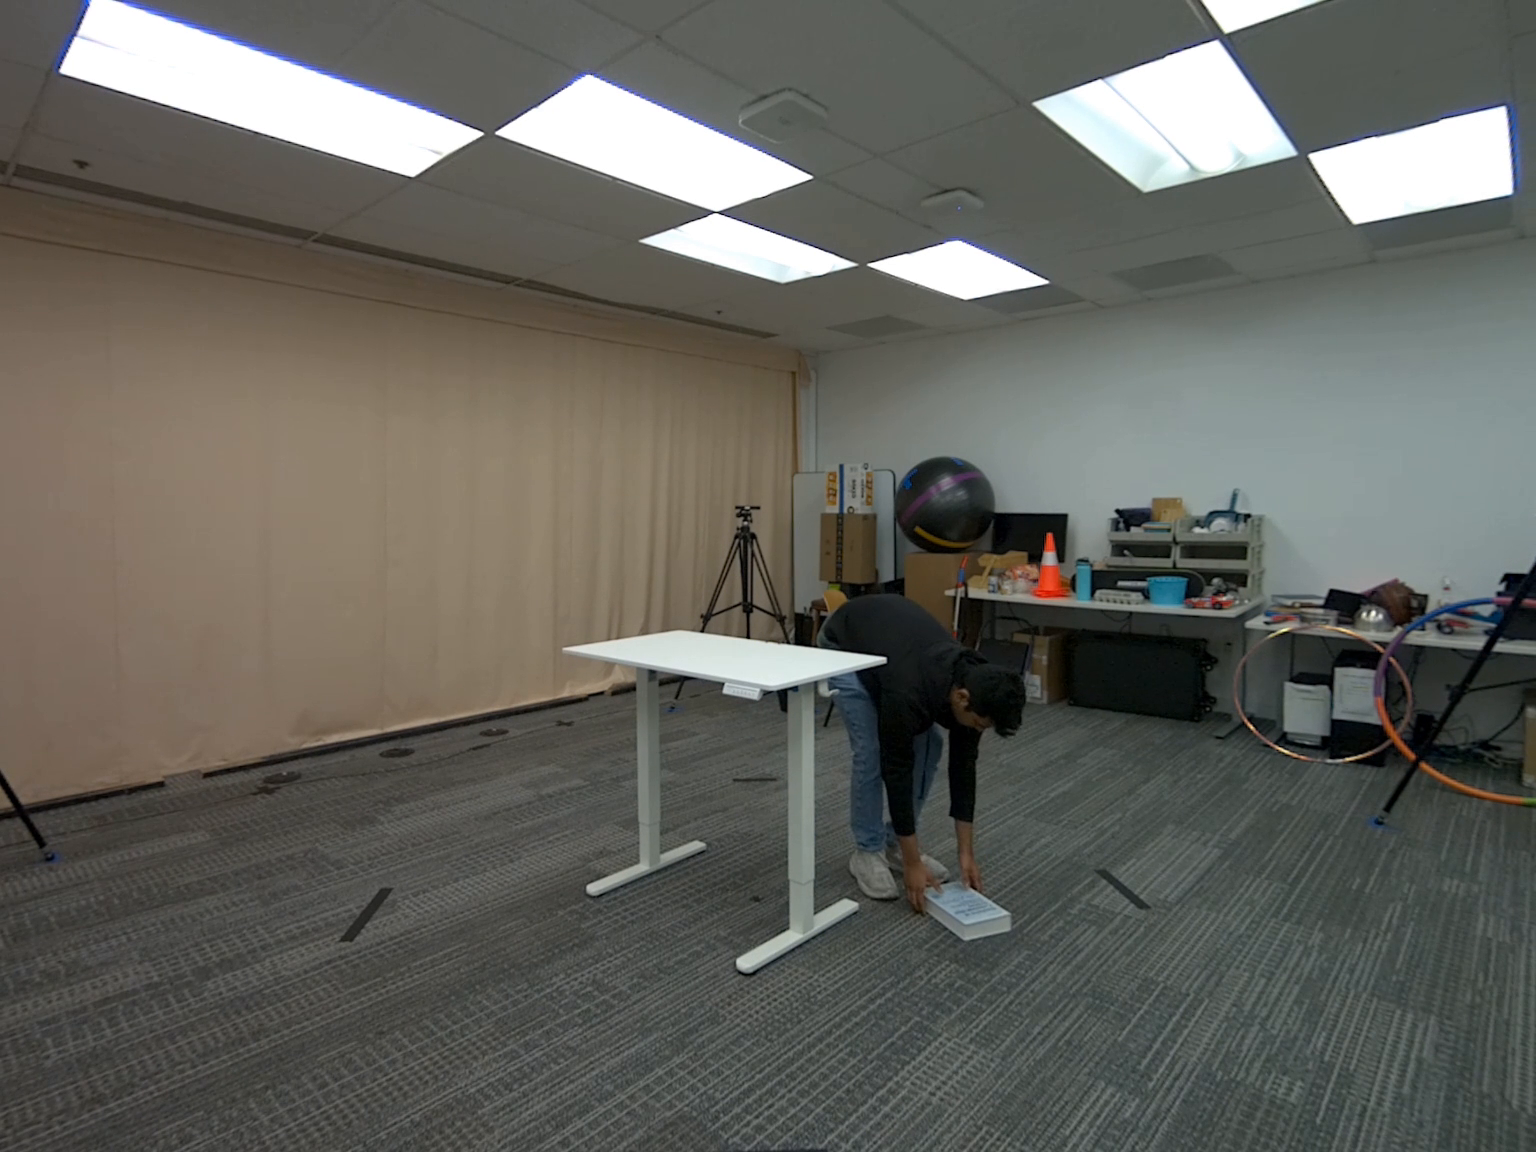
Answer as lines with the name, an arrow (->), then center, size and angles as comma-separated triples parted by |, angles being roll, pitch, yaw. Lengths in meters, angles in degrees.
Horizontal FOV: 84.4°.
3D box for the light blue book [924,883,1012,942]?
light blue book -> 0.673, 1.129, 2.840 | 0.187, 0.059, 0.267 | -3, 5, -21
